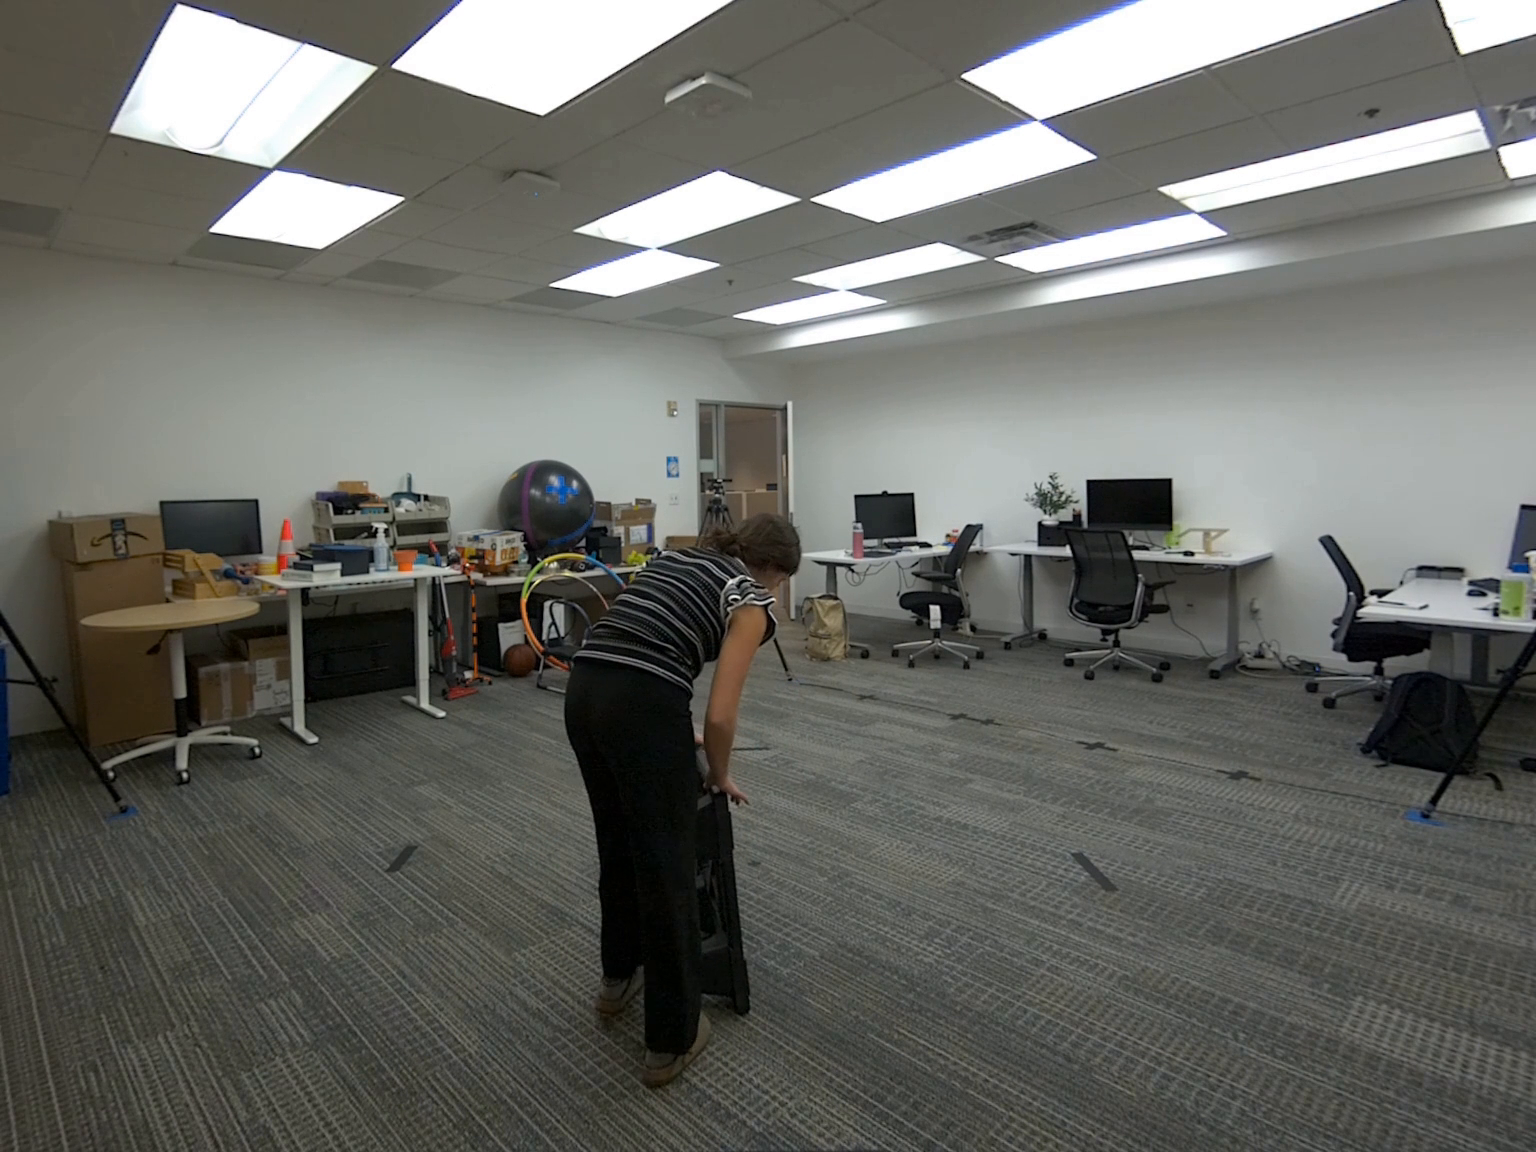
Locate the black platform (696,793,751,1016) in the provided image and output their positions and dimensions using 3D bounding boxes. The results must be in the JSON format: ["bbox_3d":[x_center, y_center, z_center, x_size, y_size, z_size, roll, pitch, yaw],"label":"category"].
[{"bbox_3d":[-0.224,0.810,2.585,0.142,0.602,0.818,-7,6,-13],"label":"black platform"}]
